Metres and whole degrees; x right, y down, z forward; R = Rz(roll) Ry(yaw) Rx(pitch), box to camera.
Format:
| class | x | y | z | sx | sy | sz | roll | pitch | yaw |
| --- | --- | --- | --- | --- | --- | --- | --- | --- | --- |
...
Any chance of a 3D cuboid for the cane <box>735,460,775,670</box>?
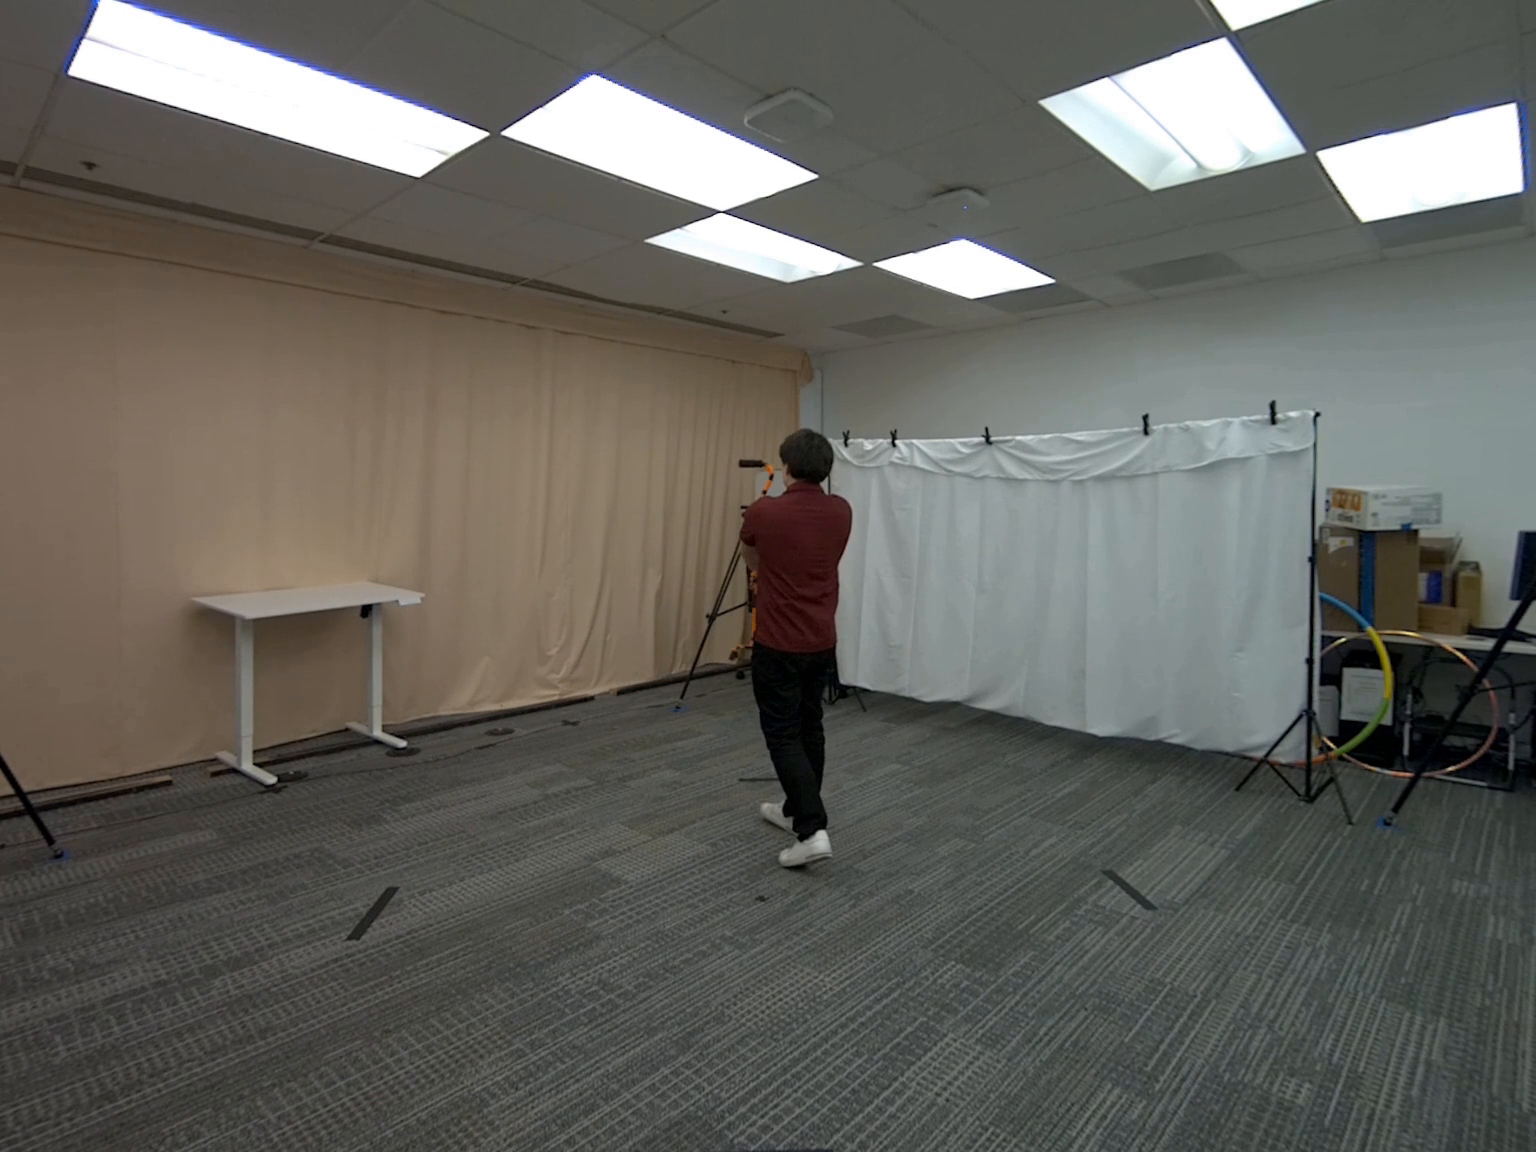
| class | x | y | z | sx | sy | sz | roll | pitch | yaw |
| --- | --- | --- | --- | --- | --- | --- | --- | --- | --- |
| cane | -0.059 | -0.077 | 3.840 | 0.208 | 0.909 | 0.150 | 0 | -2 | 5 |
